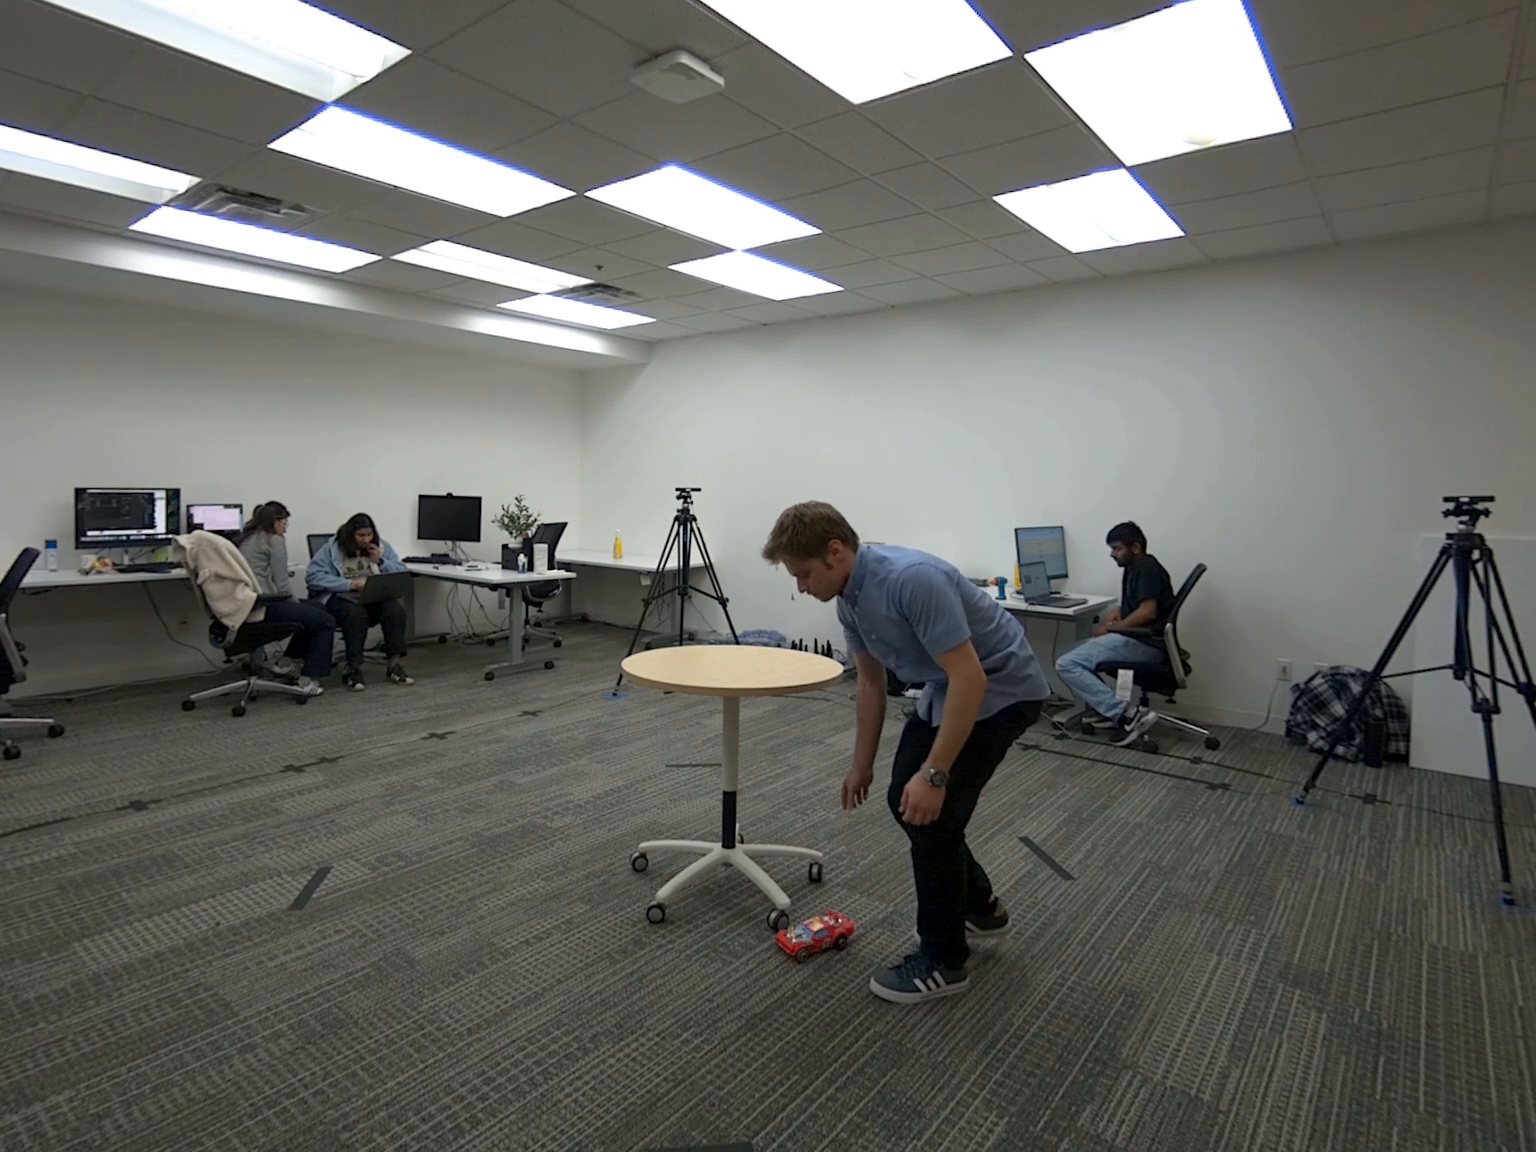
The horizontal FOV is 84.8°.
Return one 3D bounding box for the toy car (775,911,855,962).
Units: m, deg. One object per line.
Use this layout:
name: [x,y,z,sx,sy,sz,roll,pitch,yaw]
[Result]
toy car: [0.151,1.097,2.593,0.249,0.082,0.134,-15,13,-30]
